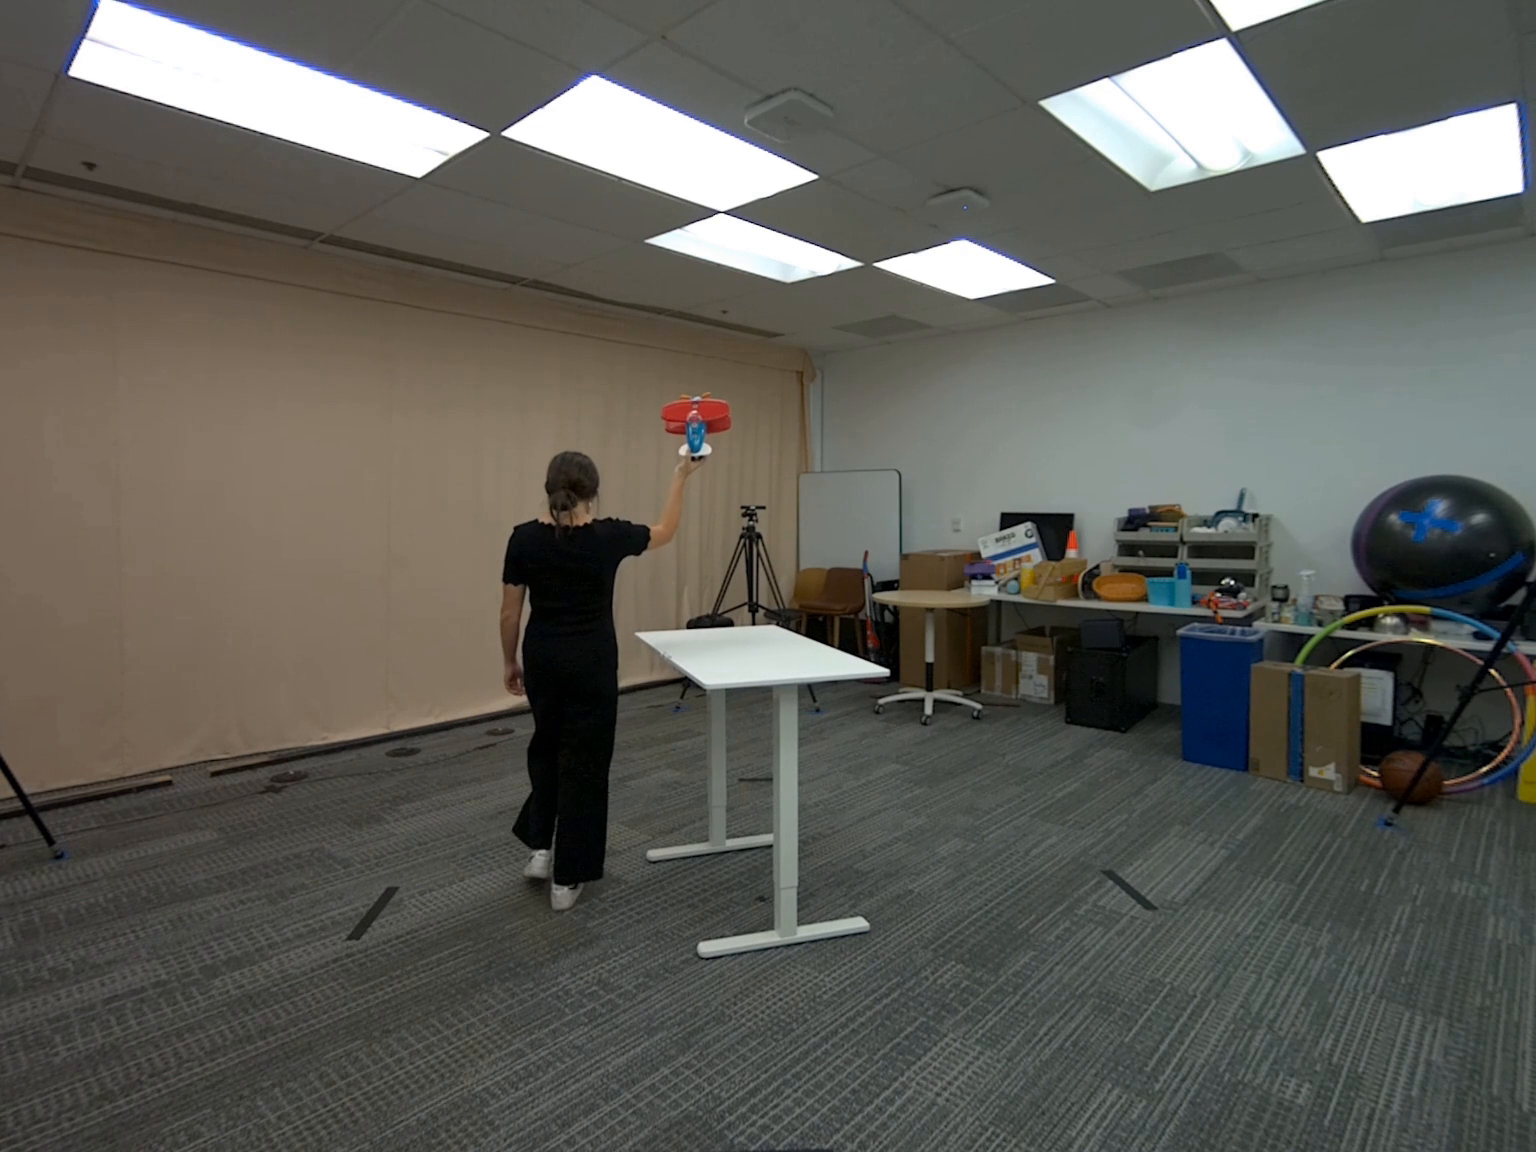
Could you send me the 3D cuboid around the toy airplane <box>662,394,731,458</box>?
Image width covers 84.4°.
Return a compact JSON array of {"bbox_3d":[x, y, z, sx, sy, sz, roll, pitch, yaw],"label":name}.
[{"bbox_3d":[-0.245,-0.559,3.179,0.248,0.153,0.268,-23,49,-14],"label":"toy airplane"}]
